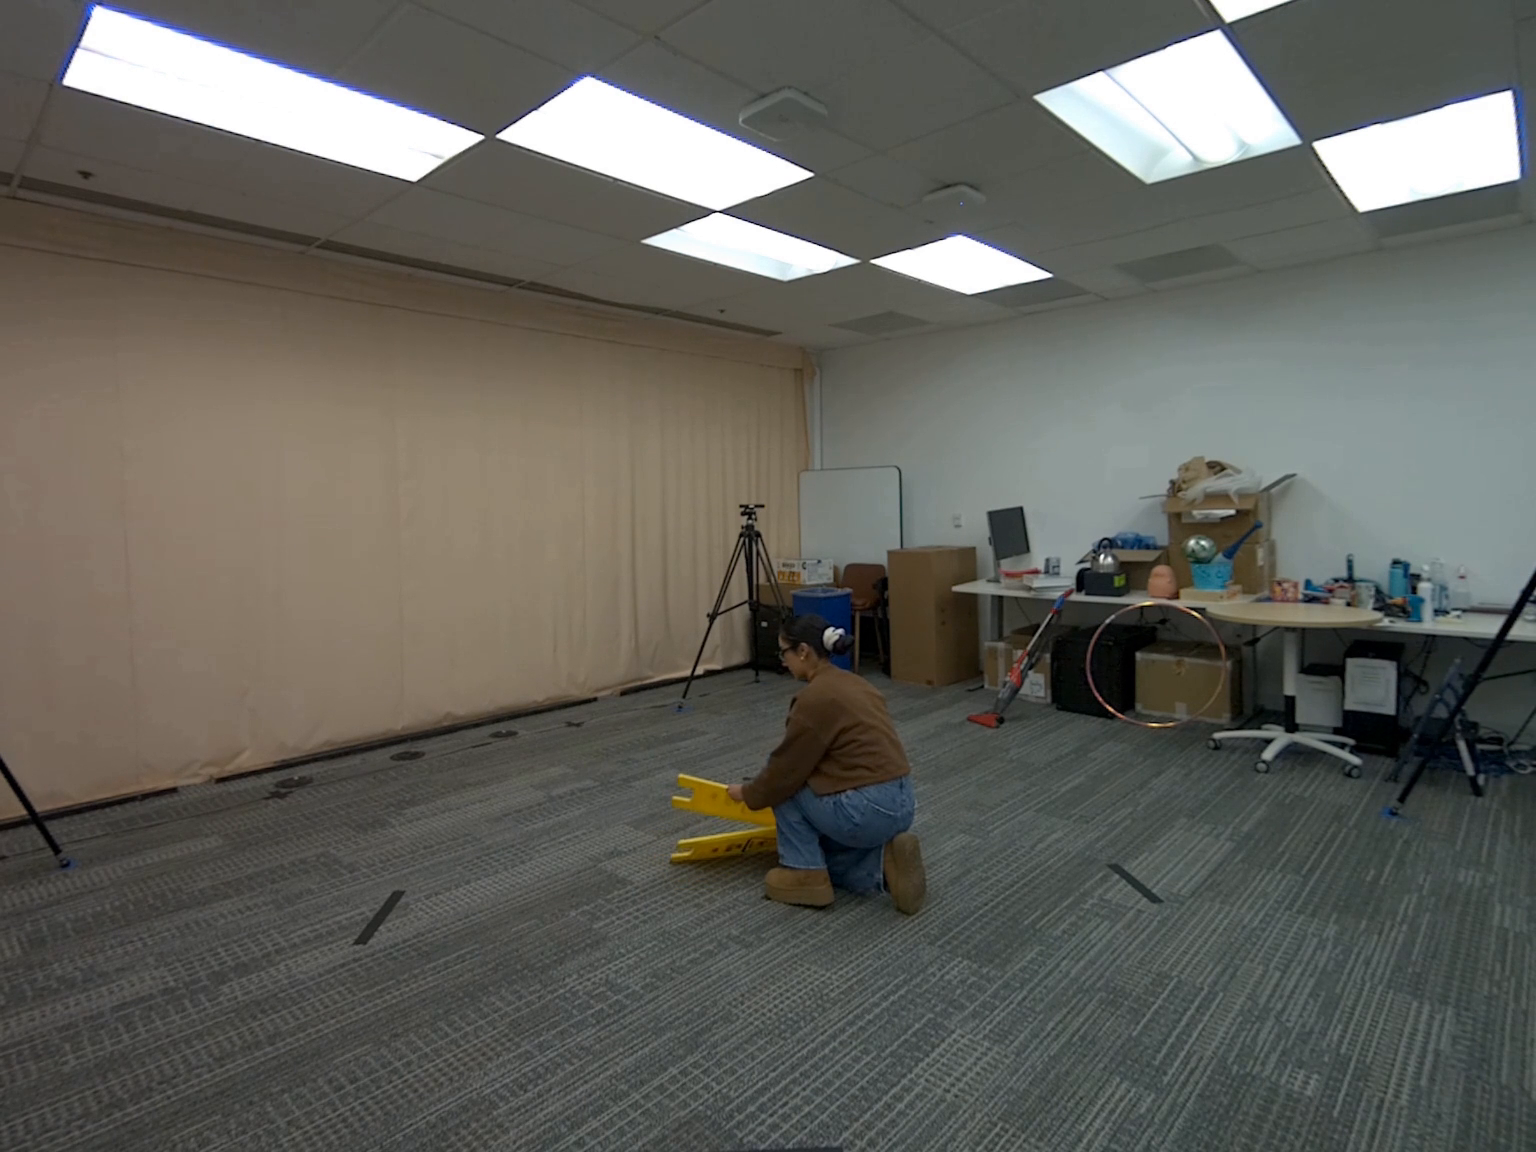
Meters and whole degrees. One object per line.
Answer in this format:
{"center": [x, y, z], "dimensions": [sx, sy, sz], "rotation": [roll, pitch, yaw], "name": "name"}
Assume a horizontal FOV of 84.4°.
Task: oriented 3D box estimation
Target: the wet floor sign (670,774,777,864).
{"center": [-0.048, 0.980, 3.302], "dimensions": [0.641, 0.295, 0.279], "rotation": [6, -37, -7], "name": "wet floor sign"}
